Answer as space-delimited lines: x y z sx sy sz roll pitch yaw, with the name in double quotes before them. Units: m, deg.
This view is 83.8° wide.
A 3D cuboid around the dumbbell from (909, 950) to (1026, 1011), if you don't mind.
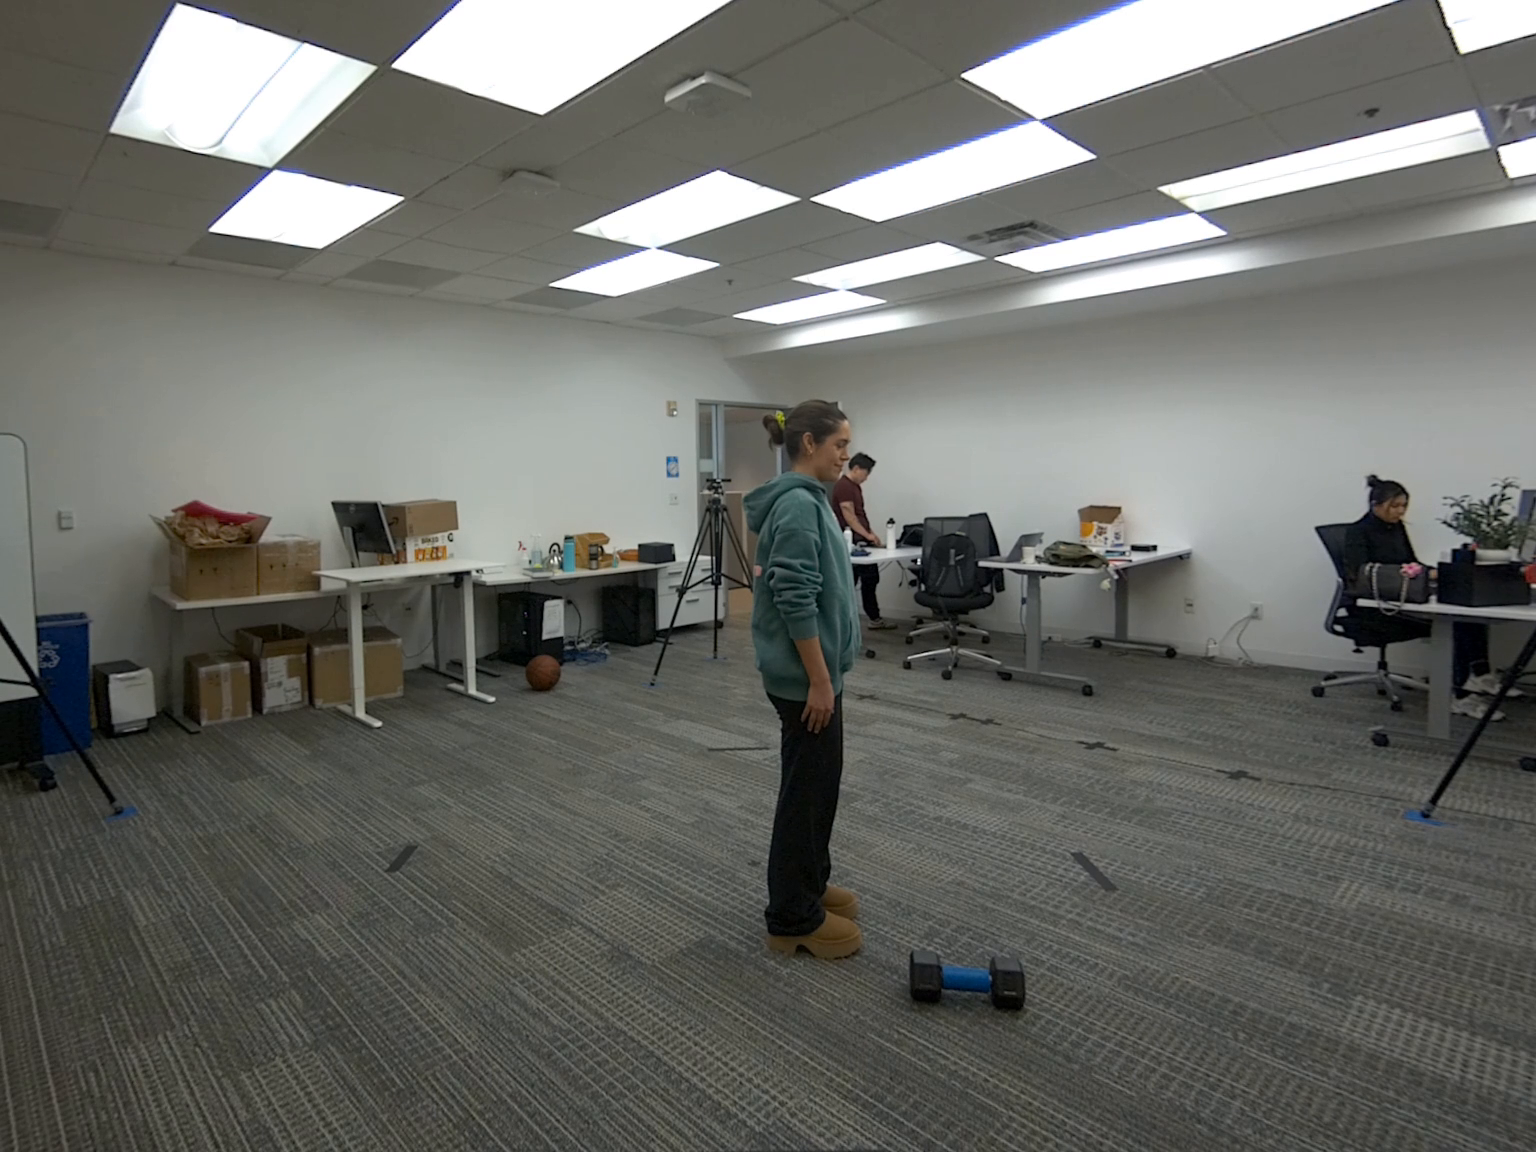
"dumbbell" 0.536 1.077 2.273 0.296 0.119 0.110 0 33 10
